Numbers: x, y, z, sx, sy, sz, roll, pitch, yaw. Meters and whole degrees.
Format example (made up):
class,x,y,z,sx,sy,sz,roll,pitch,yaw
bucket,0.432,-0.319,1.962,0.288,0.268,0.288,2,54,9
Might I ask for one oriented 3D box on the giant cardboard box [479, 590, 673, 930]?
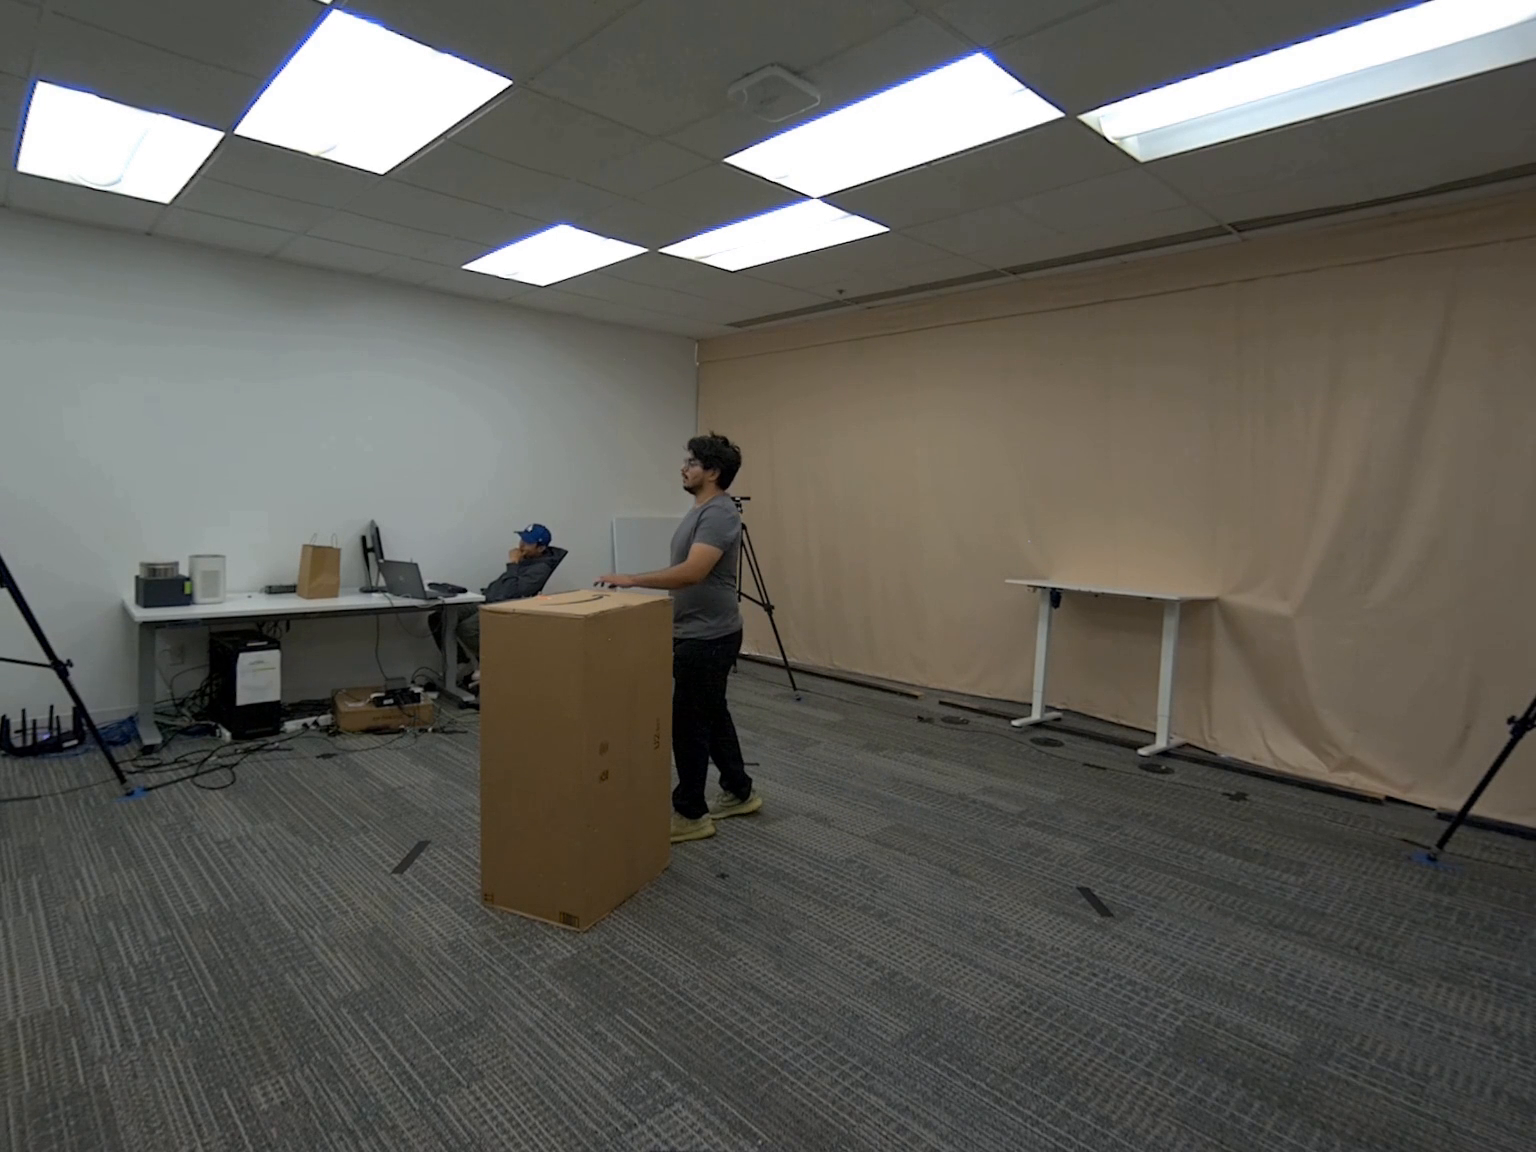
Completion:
class,x,y,z,sx,sy,sz,roll,pitch,yaw
giant cardboard box,-0.674,0.598,2.986,0.434,1.023,0.568,3,4,25
